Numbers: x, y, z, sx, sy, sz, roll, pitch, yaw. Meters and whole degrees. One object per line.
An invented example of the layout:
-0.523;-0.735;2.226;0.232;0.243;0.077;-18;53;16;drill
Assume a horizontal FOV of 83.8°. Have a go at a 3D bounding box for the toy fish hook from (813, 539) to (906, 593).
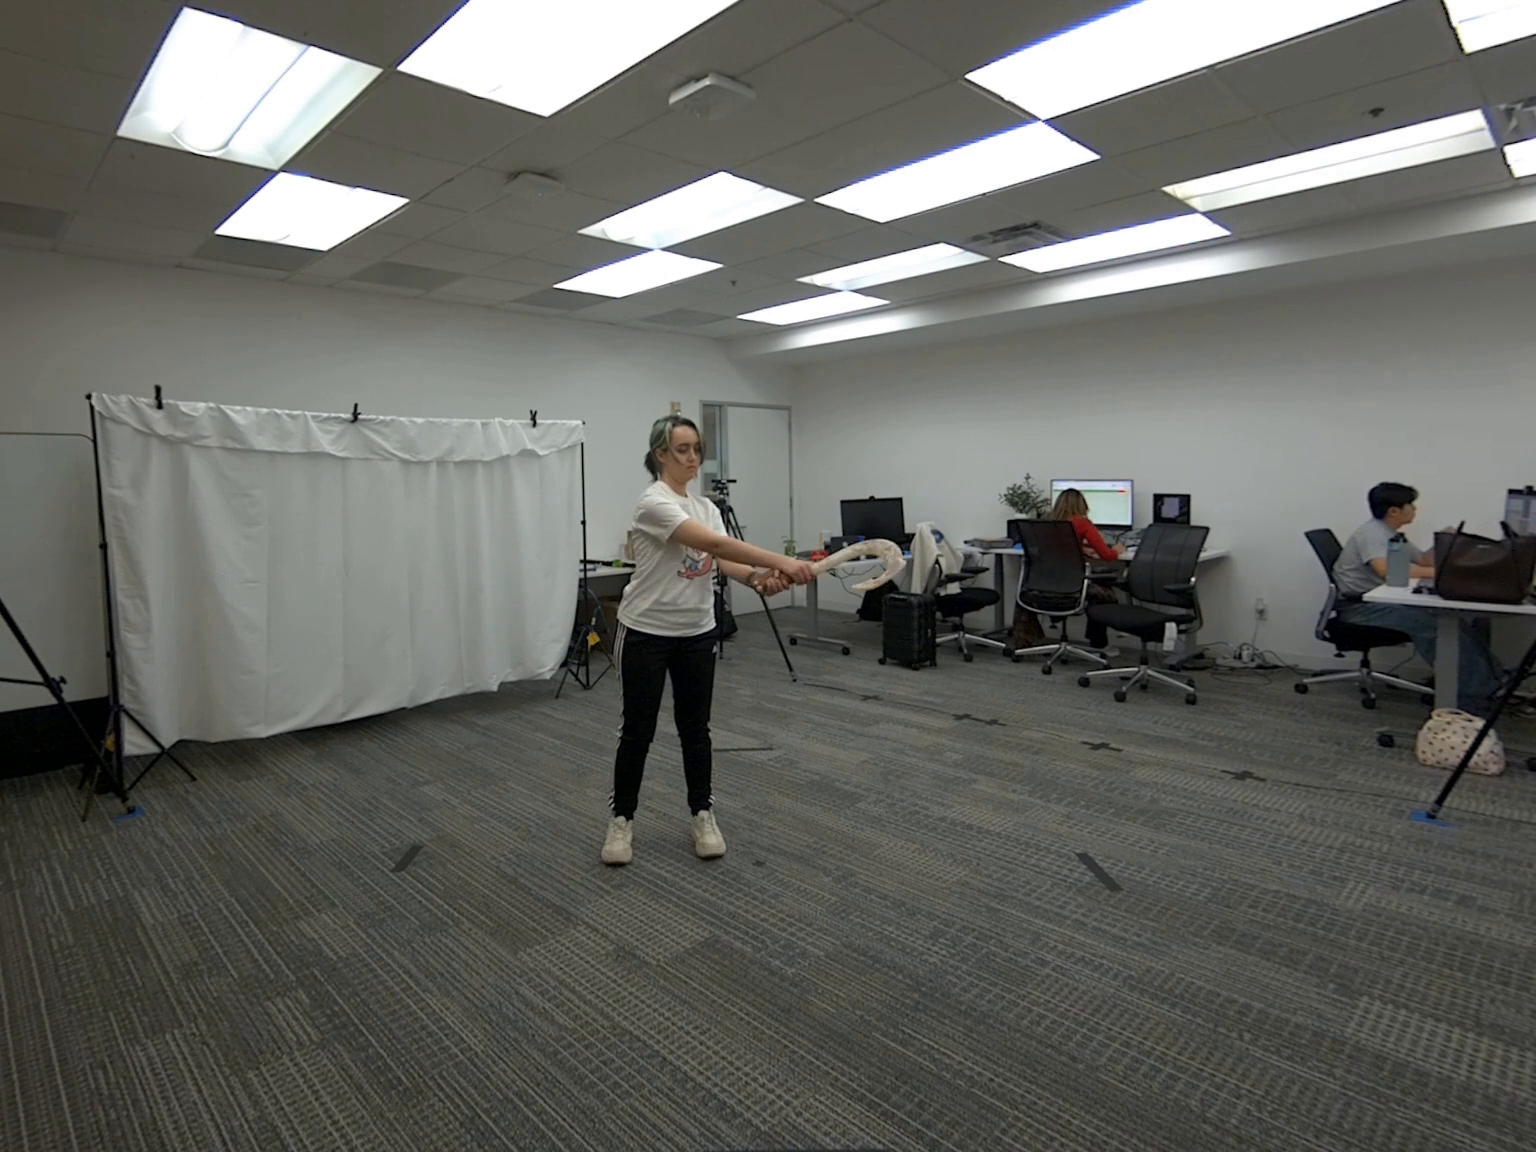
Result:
0.193;0.008;2.812;0.508;0.047;0.232;-19;36;3;toy fish hook
